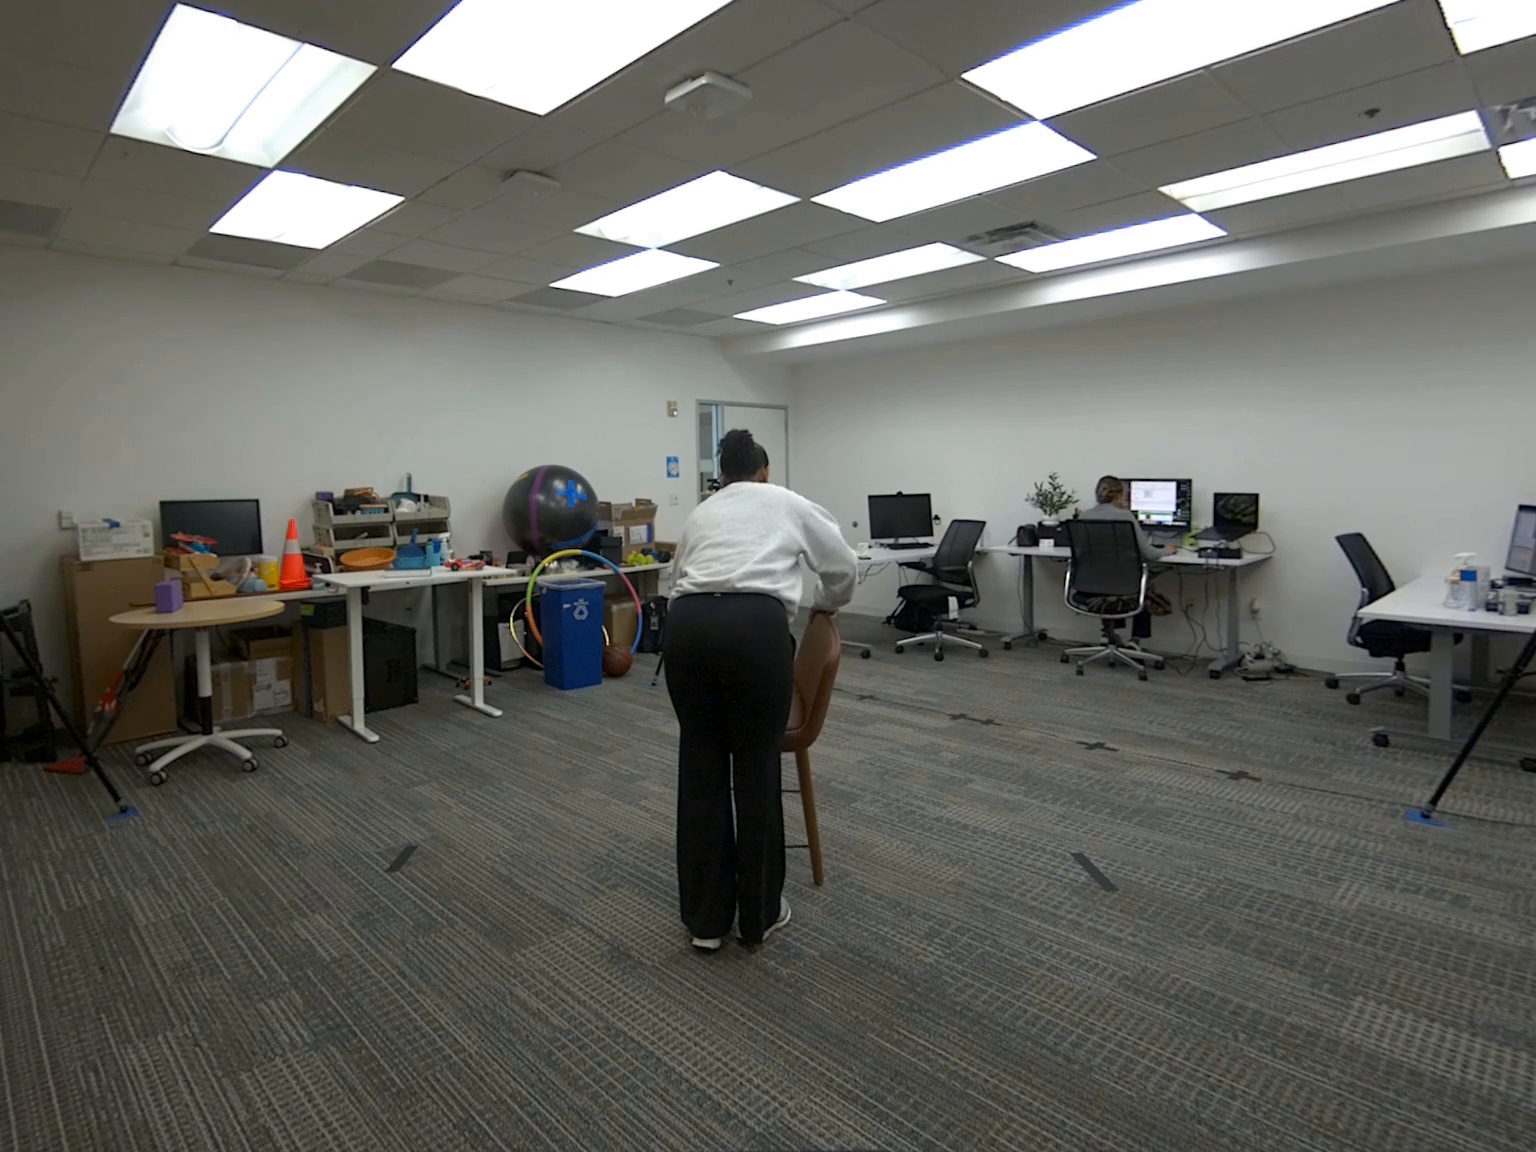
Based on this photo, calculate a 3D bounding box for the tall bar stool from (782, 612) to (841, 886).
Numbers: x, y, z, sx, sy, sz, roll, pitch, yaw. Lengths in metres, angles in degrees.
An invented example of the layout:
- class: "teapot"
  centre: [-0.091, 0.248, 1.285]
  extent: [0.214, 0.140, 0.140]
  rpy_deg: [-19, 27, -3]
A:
- class: "tall bar stool"
  centre: [-0.030, 0.592, 2.971]
  extent: [0.468, 0.875, 0.464]
  rpy_deg: [3, 21, 0]
